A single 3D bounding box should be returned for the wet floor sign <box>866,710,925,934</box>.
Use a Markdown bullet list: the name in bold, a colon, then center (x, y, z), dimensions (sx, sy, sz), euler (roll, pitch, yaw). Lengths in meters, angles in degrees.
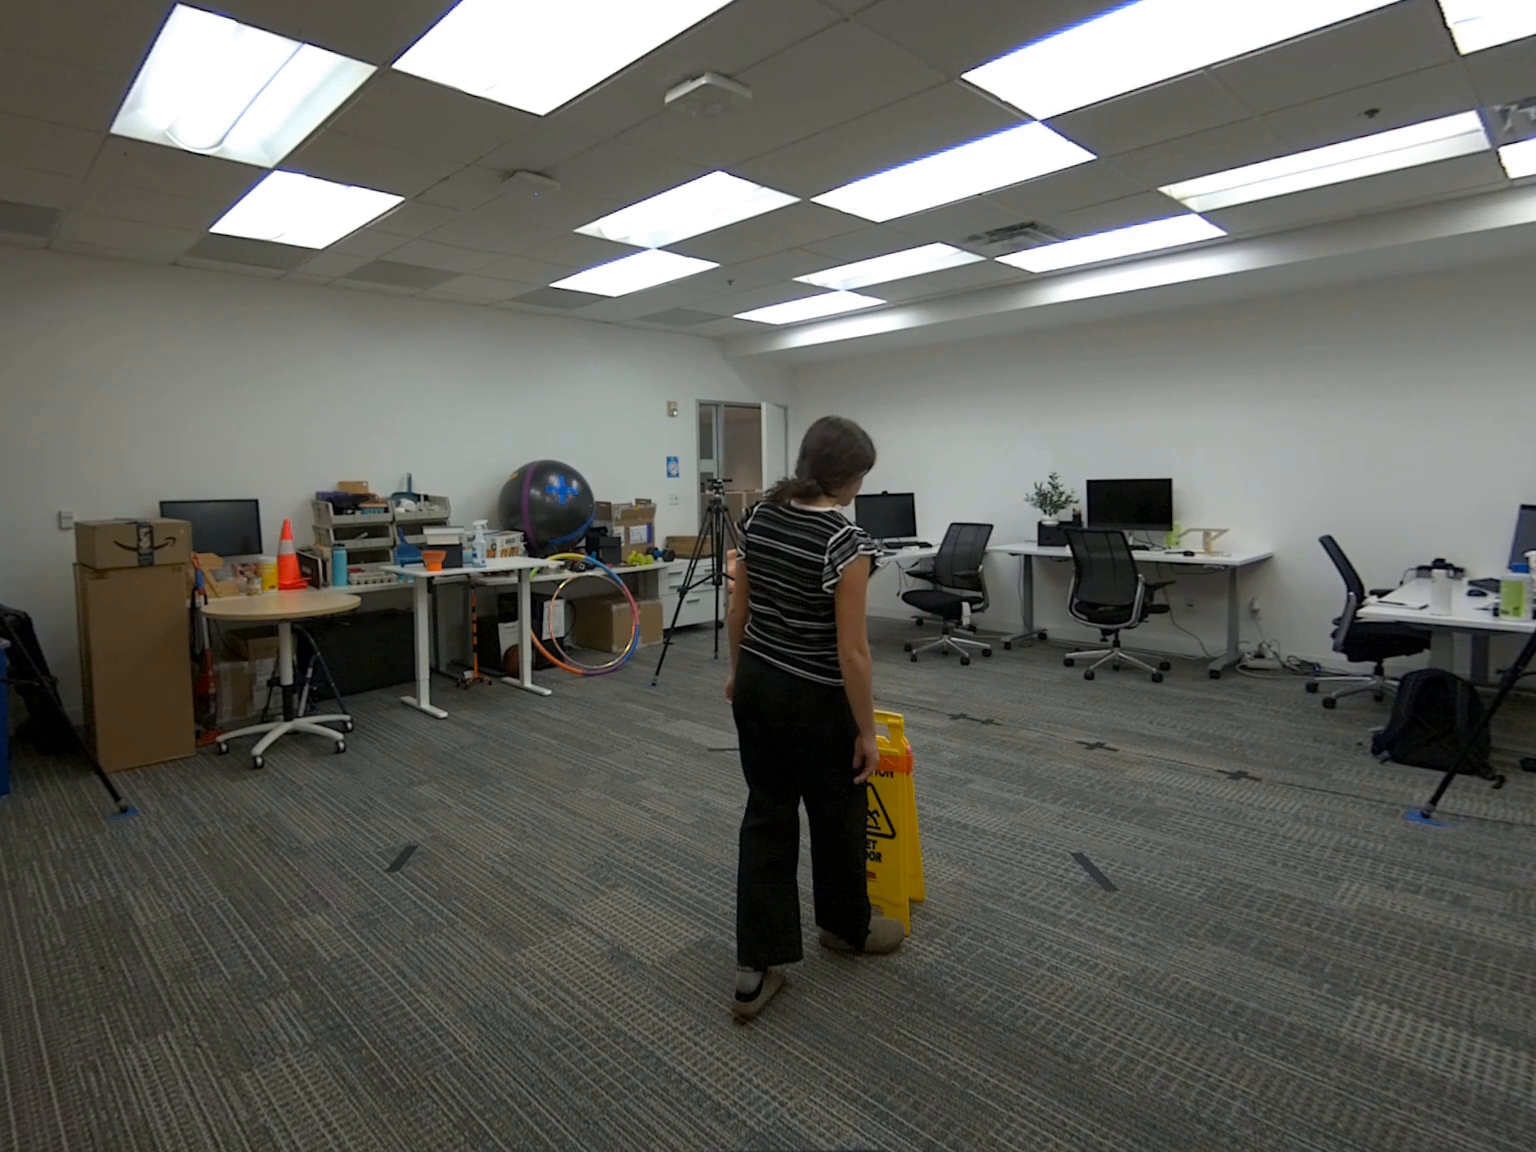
- **wet floor sign**: center (0.345, 0.757, 2.731), dimensions (0.288, 0.643, 0.285), euler (0, 5, 23)
